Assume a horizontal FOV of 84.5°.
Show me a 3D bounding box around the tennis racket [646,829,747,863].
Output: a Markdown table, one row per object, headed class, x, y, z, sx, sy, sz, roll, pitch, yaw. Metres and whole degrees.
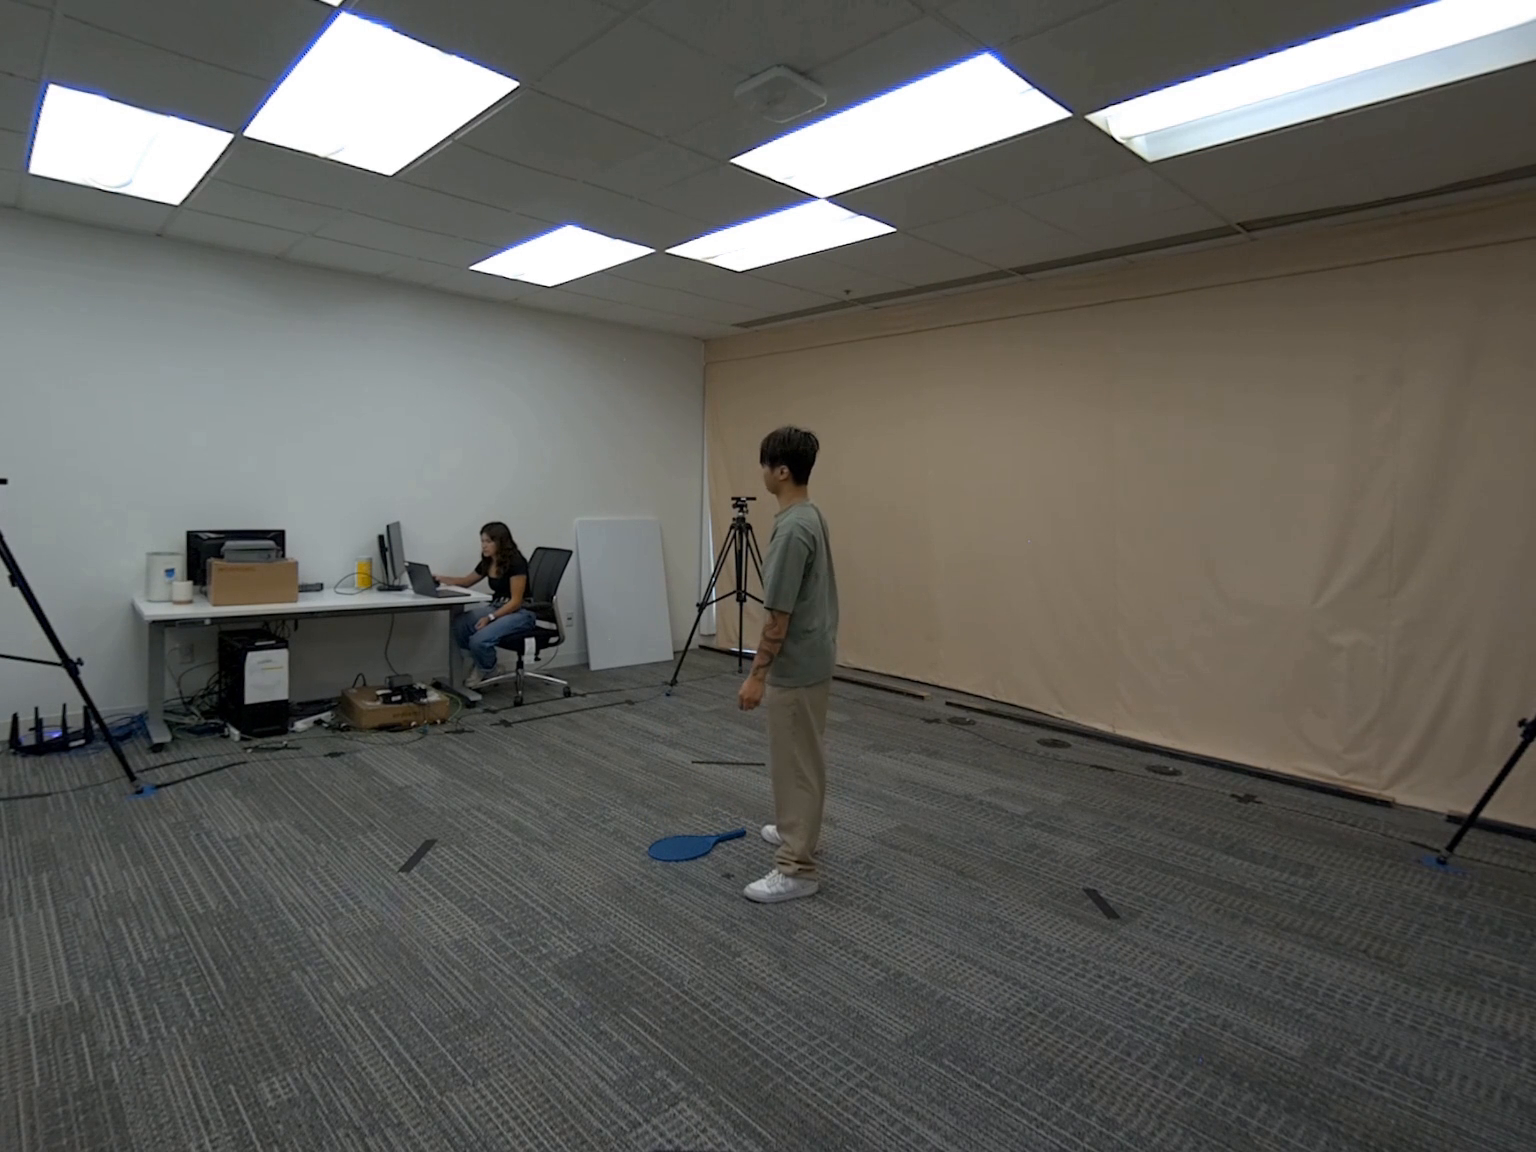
| class | x | y | z | sx | sy | sz | roll | pitch | yaw |
| --- | --- | --- | --- | --- | --- | --- | --- | --- | --- |
| tennis racket | -0.283 | 1.070 | 3.360 | 0.424 | 0.031 | 0.219 | -3 | 6 | -30 |
